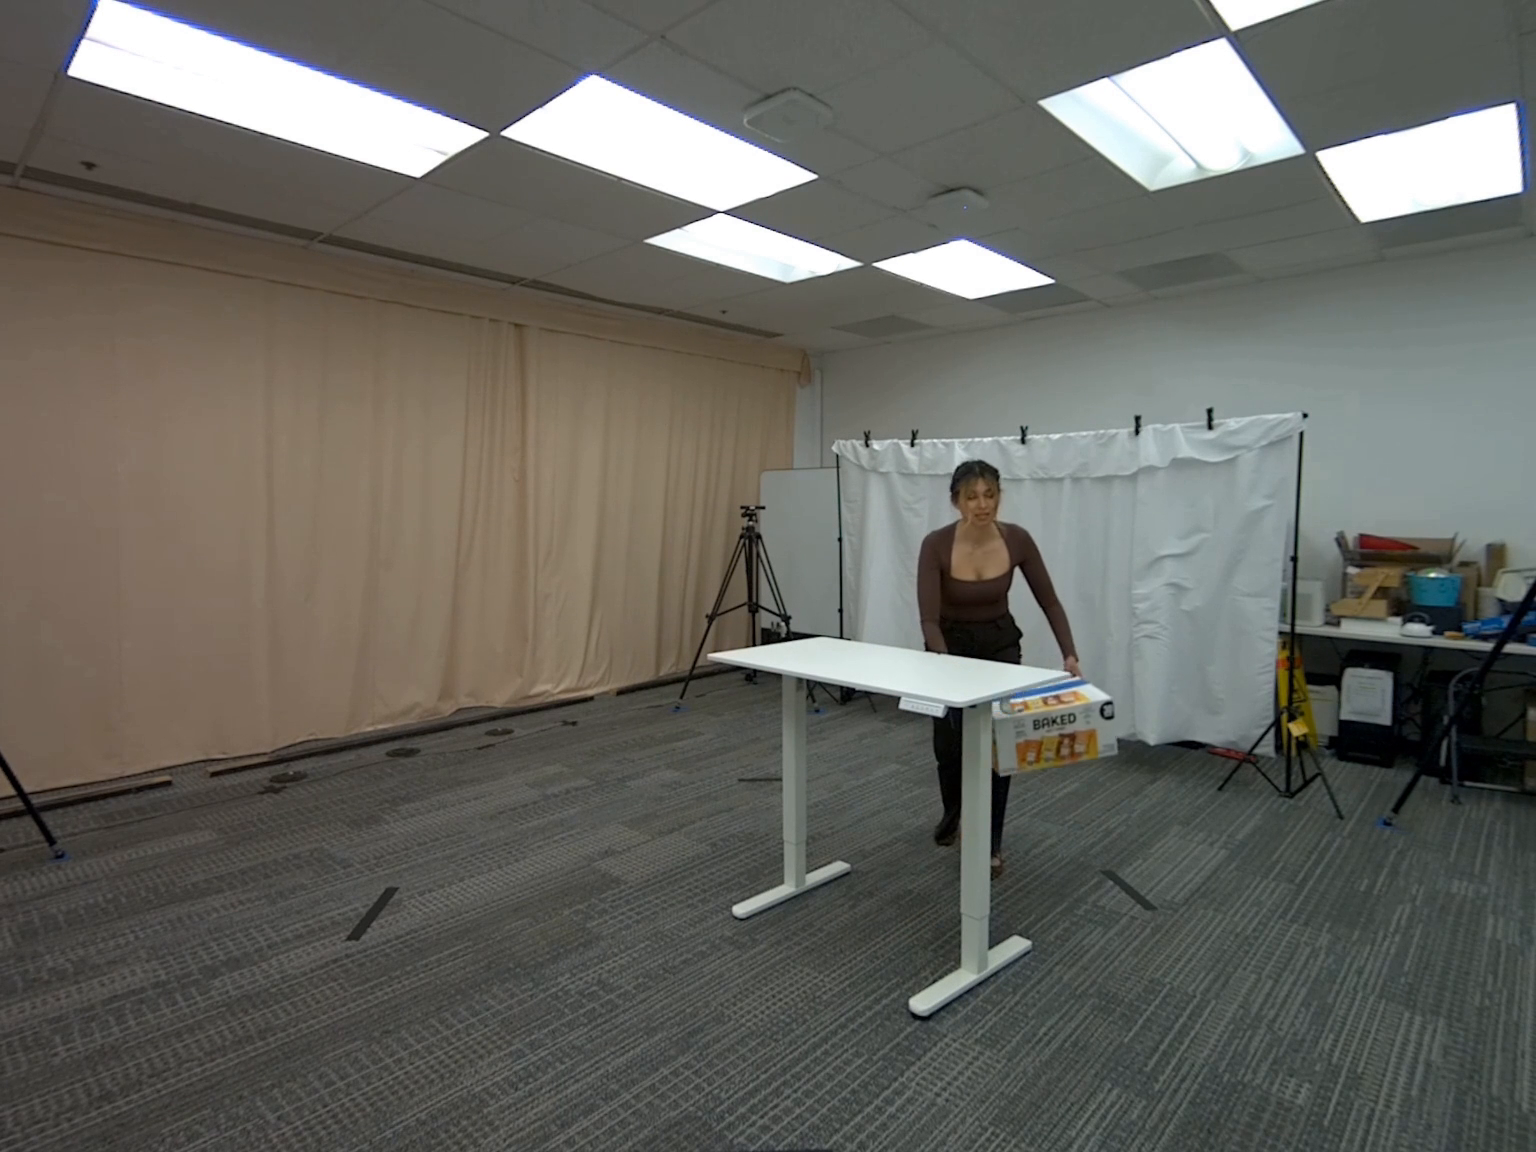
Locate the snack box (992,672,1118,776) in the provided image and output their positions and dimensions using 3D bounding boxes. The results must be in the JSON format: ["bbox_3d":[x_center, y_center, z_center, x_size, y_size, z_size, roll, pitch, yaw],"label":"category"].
[{"bbox_3d":[0.922,0.500,2.925,0.404,0.204,0.344,-8,11,-3],"label":"snack box"}]
